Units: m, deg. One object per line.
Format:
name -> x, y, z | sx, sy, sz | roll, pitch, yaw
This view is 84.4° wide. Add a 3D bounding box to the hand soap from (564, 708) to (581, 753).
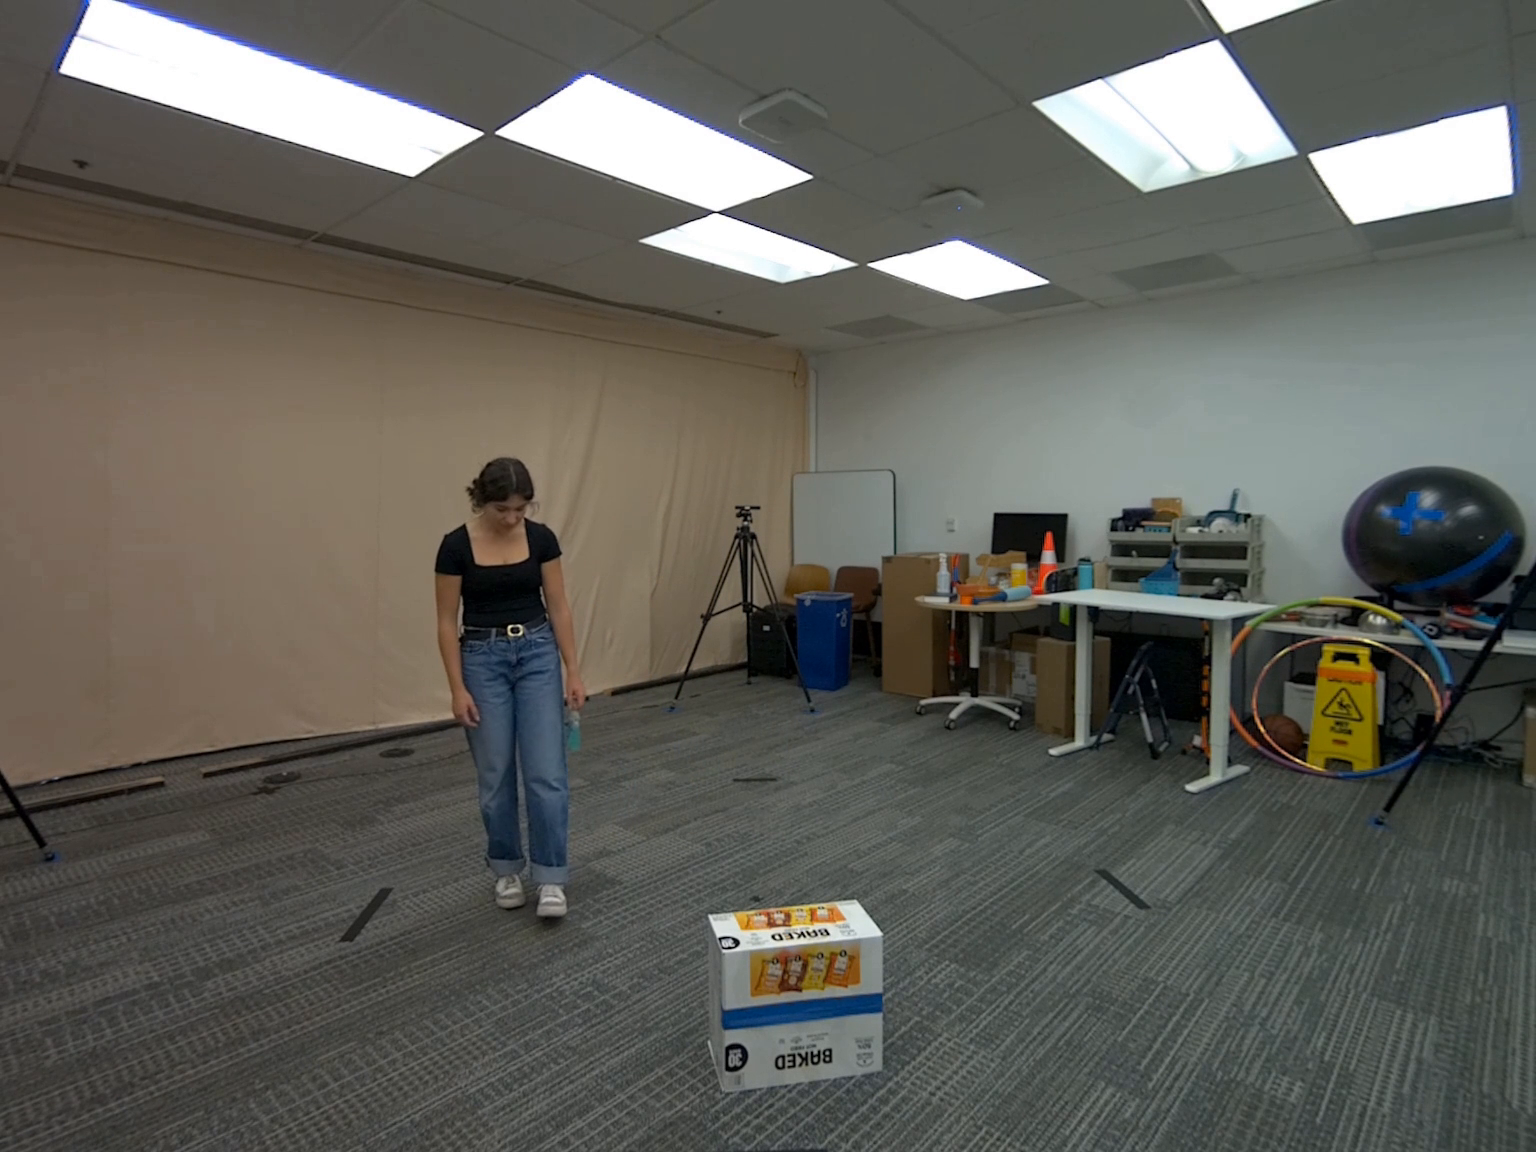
hand soap -> -0.688, 0.536, 2.967 | 0.042, 0.167, 0.087 | -1, 8, -27
